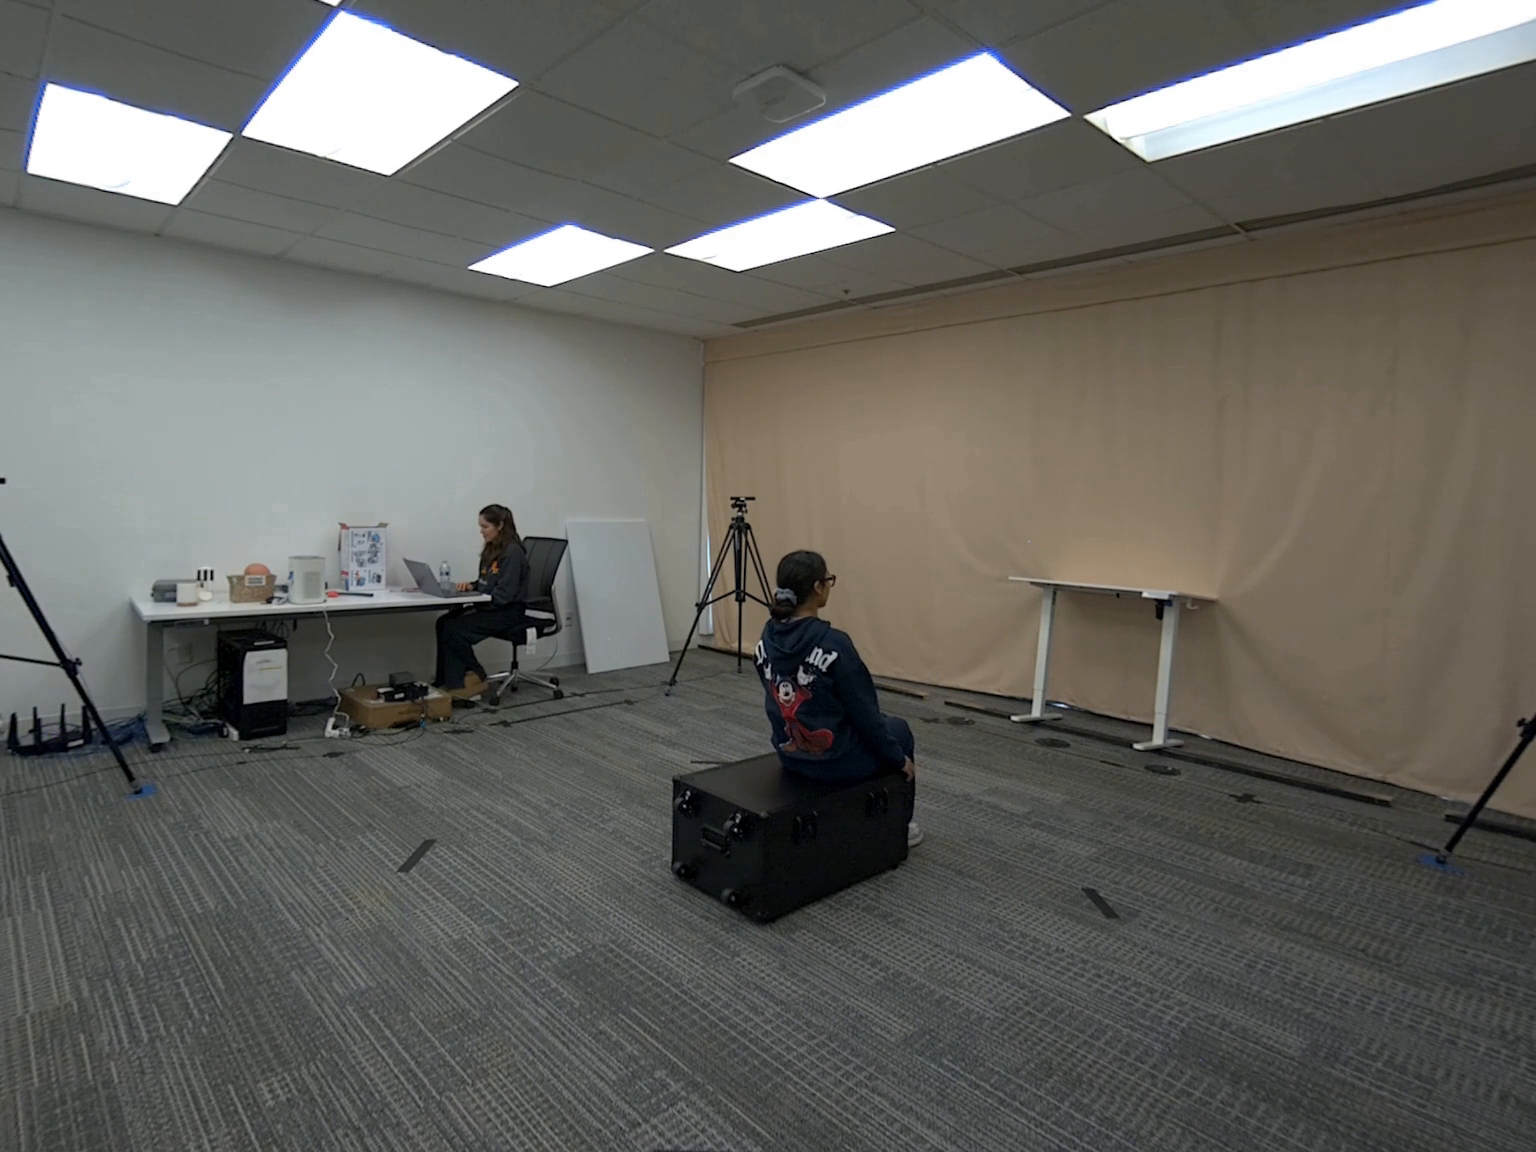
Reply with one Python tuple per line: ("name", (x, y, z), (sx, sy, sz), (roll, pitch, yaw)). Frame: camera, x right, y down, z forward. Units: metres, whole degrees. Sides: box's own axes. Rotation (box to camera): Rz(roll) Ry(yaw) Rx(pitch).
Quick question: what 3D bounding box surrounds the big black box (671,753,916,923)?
("big black box", (0.062, 0.923, 3.123), (0.841, 0.395, 0.534), (-2, 5, -44))
